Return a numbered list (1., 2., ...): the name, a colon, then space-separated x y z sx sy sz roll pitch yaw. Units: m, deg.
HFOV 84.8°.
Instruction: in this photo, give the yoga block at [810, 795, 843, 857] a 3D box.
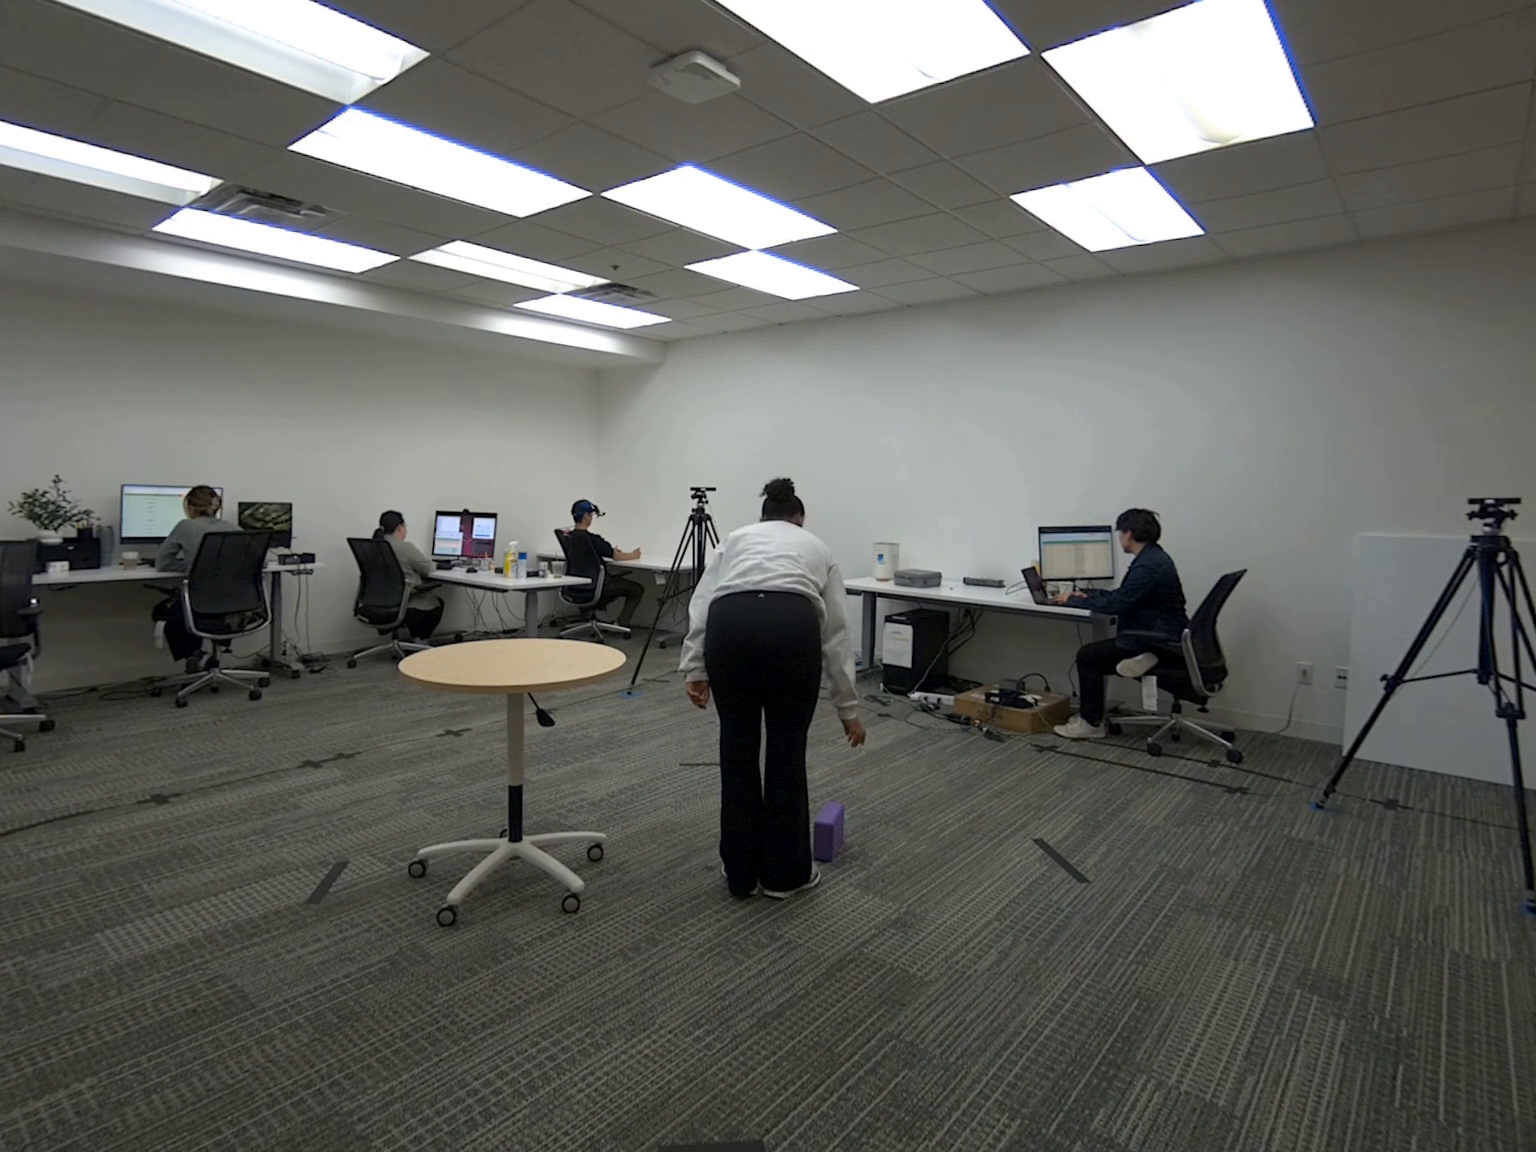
1. yoga block: 0.227 0.972 3.287 0.078 0.149 0.225 1 3 16
